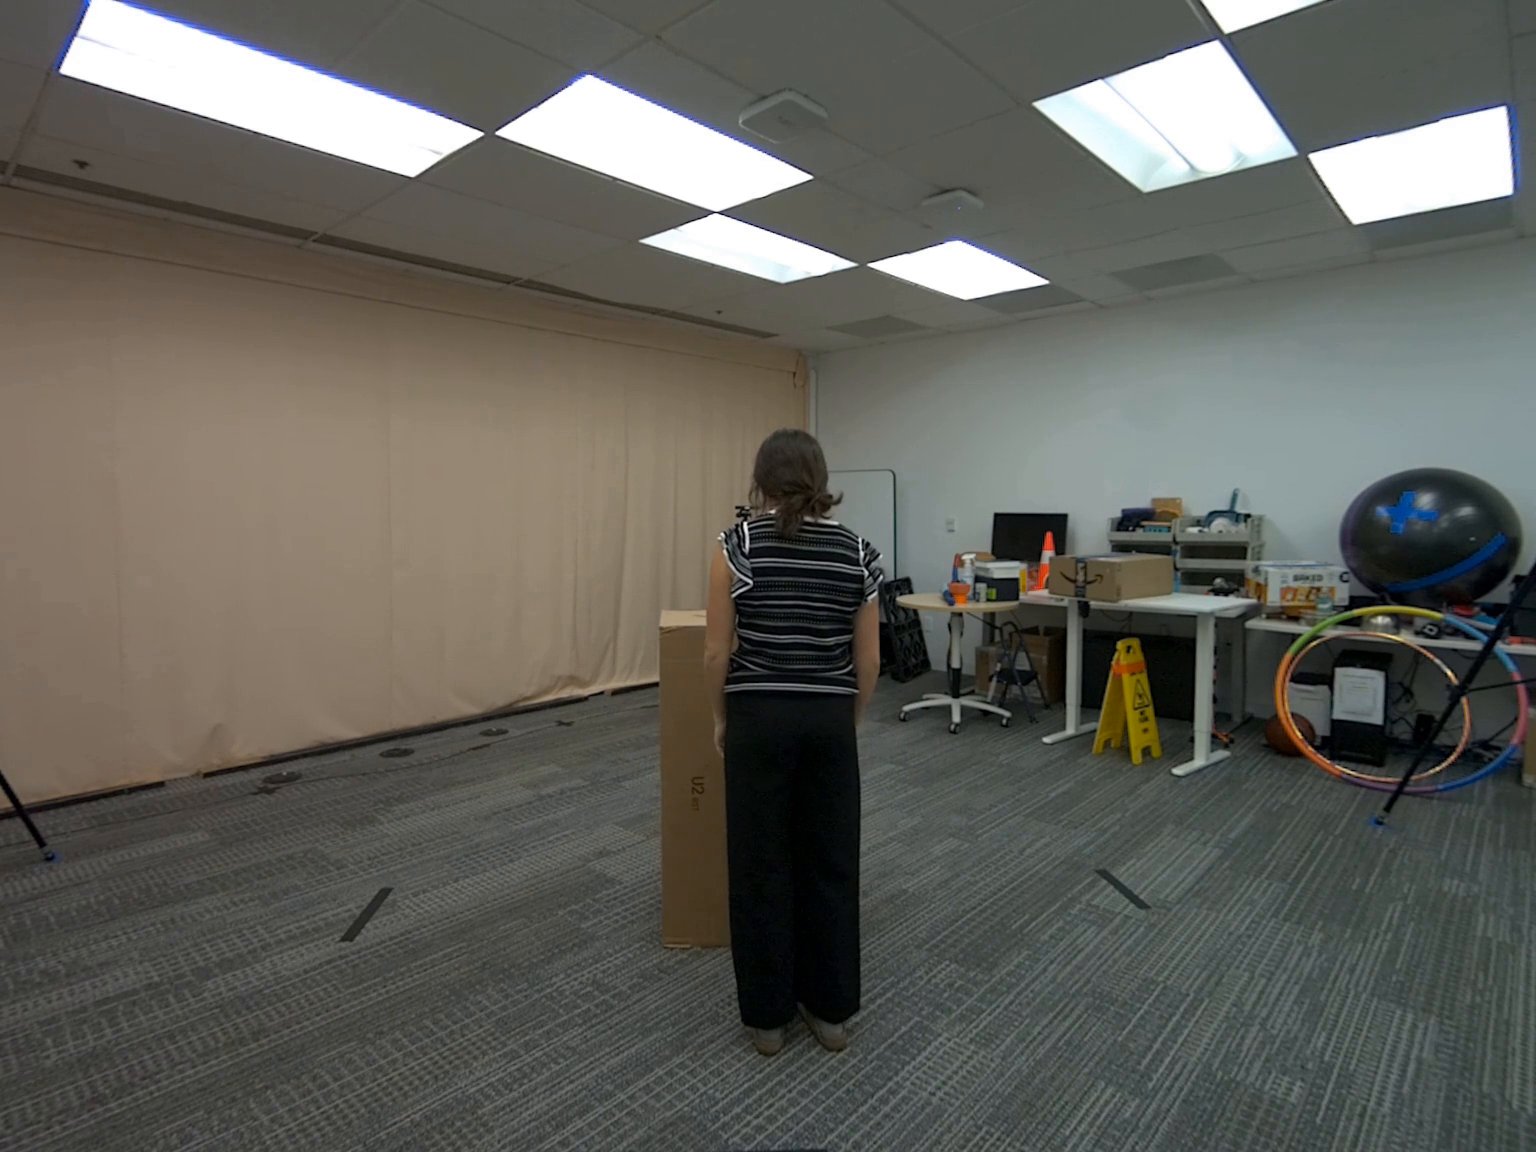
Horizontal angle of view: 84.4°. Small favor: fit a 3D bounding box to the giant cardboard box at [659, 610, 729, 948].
[{"bbox_3d":[-0.074,0.648,2.850,0.576,1.024,0.428,0,3,-3],"label":"giant cardboard box"}]
